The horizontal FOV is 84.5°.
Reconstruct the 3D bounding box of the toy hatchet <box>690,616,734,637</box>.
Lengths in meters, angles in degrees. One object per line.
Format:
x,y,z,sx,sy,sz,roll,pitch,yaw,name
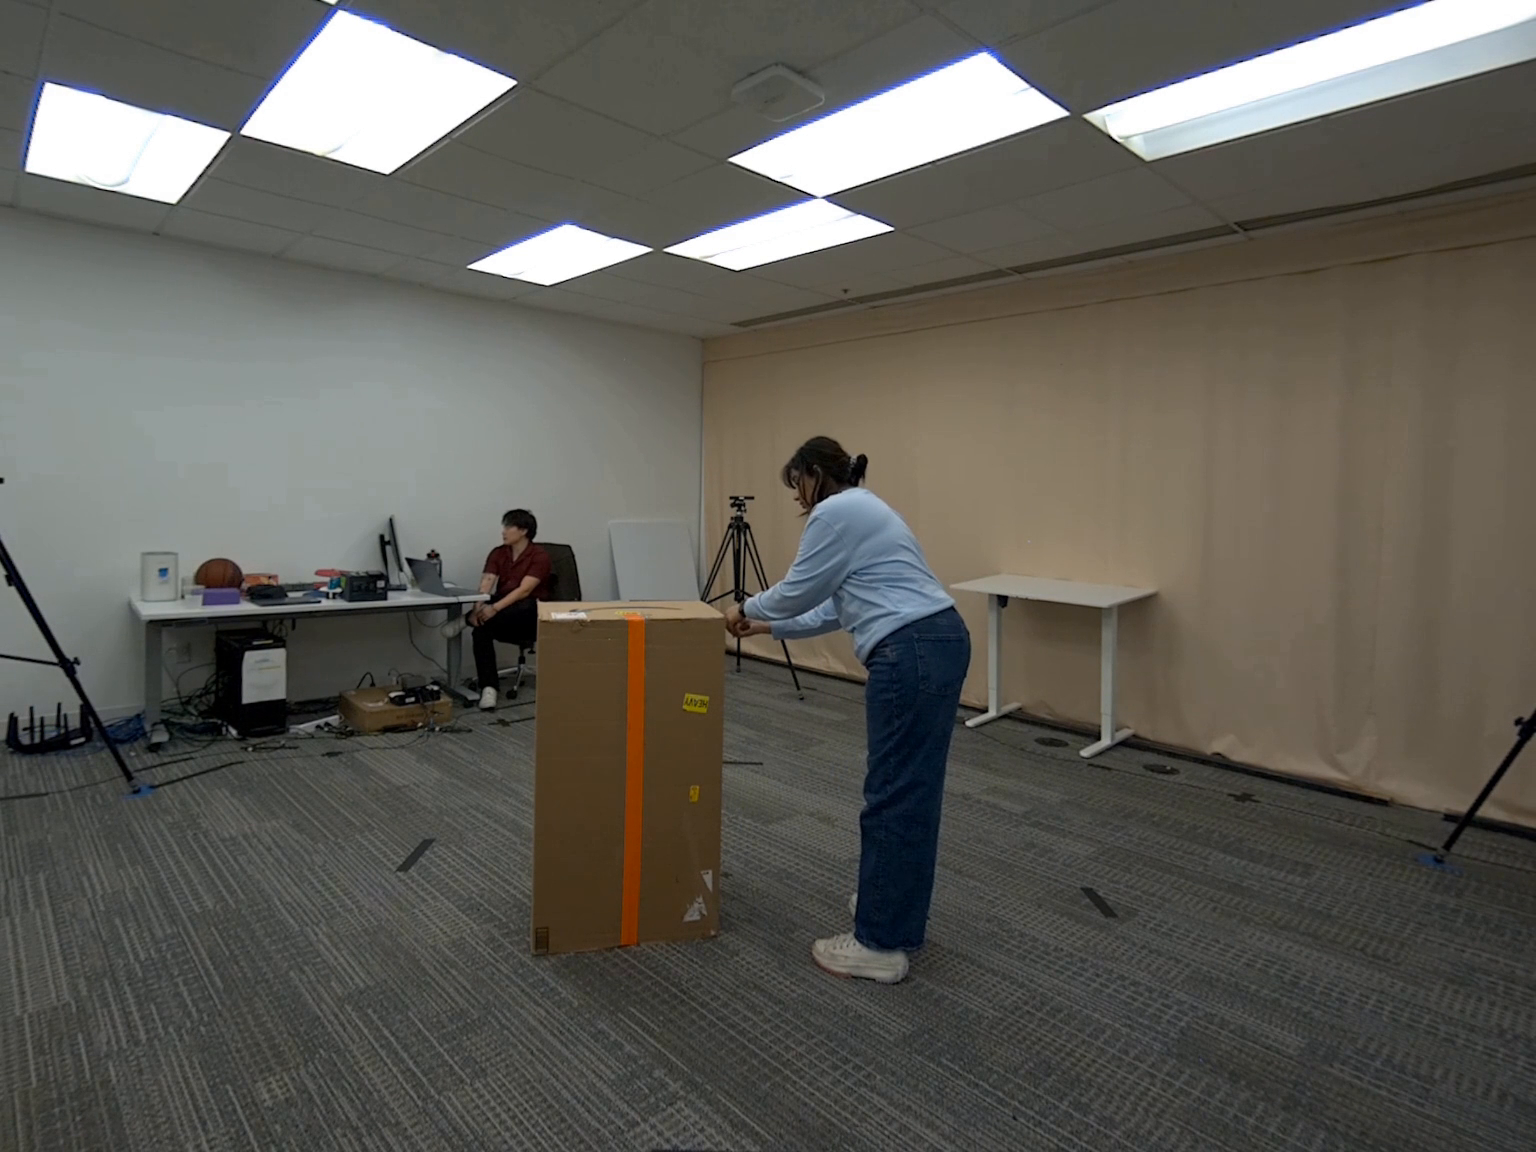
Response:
-0.162,0.177,2.992,0.128,0.029,0.276,-2,5,-28,toy hatchet
